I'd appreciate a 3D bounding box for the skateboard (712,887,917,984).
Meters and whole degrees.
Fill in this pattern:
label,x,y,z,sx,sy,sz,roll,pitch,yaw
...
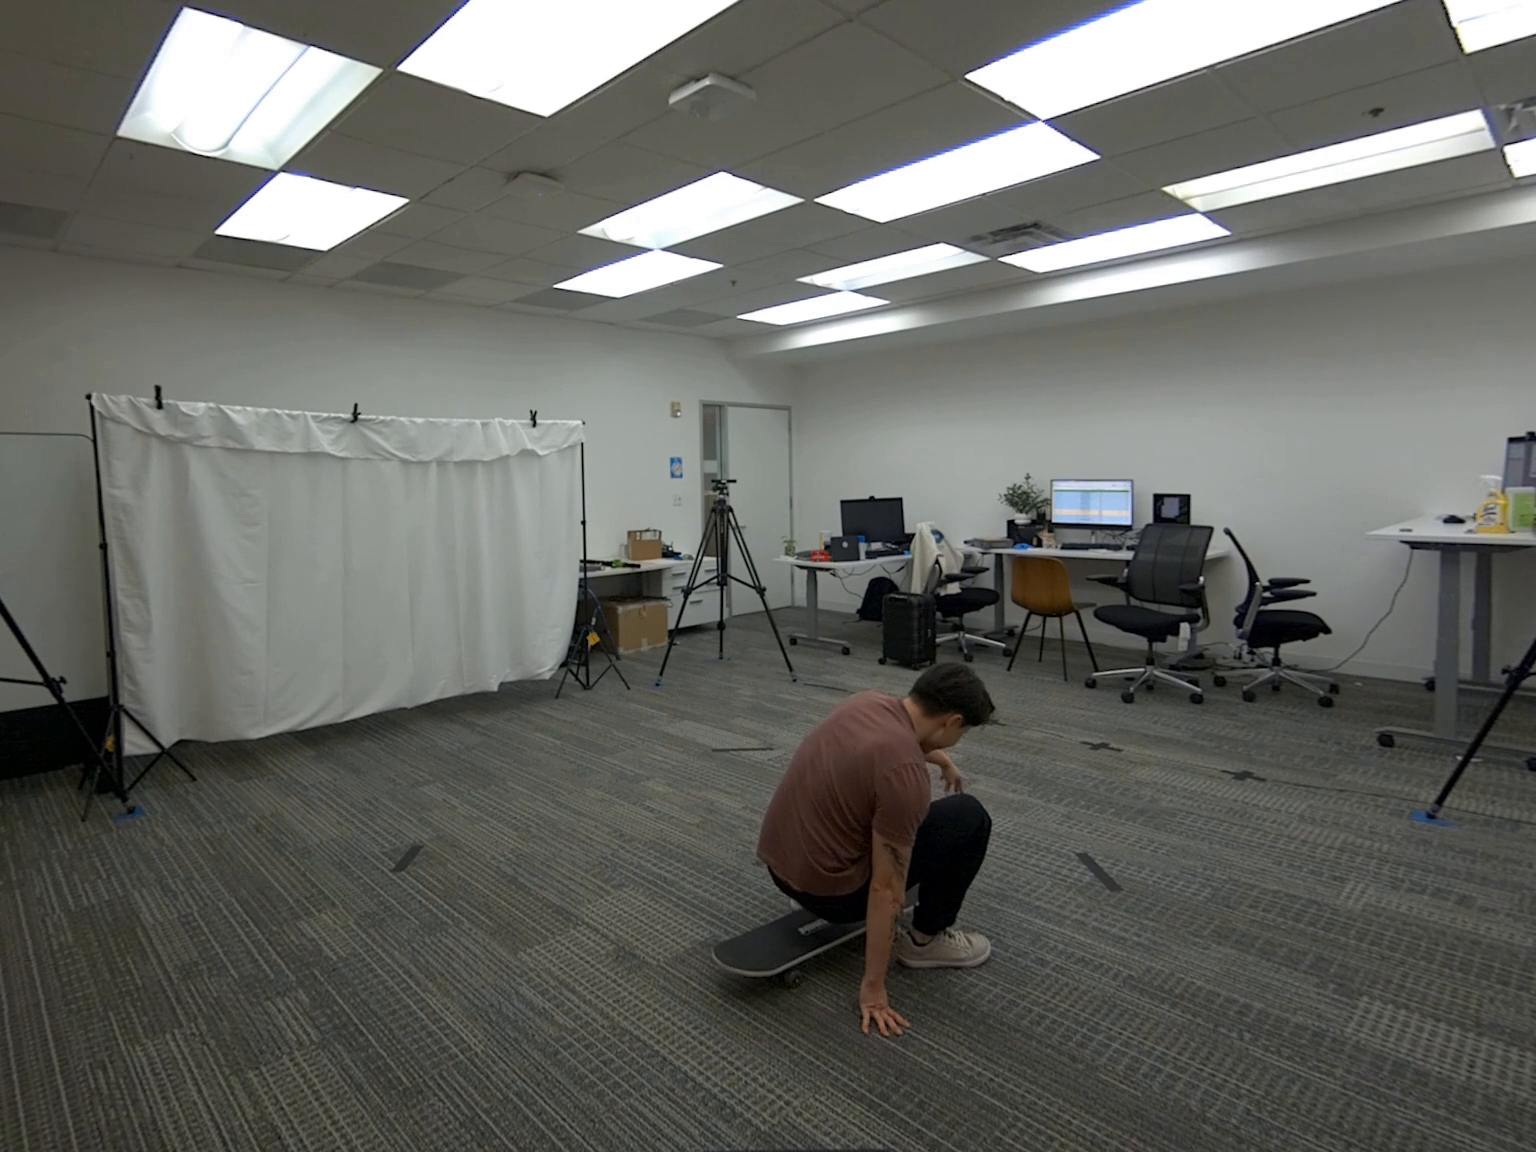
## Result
label,x,y,z,sx,sy,sz,roll,pitch,yaw
skateboard,0.189,1.056,2.530,0.766,0.110,0.199,-7,8,-38
